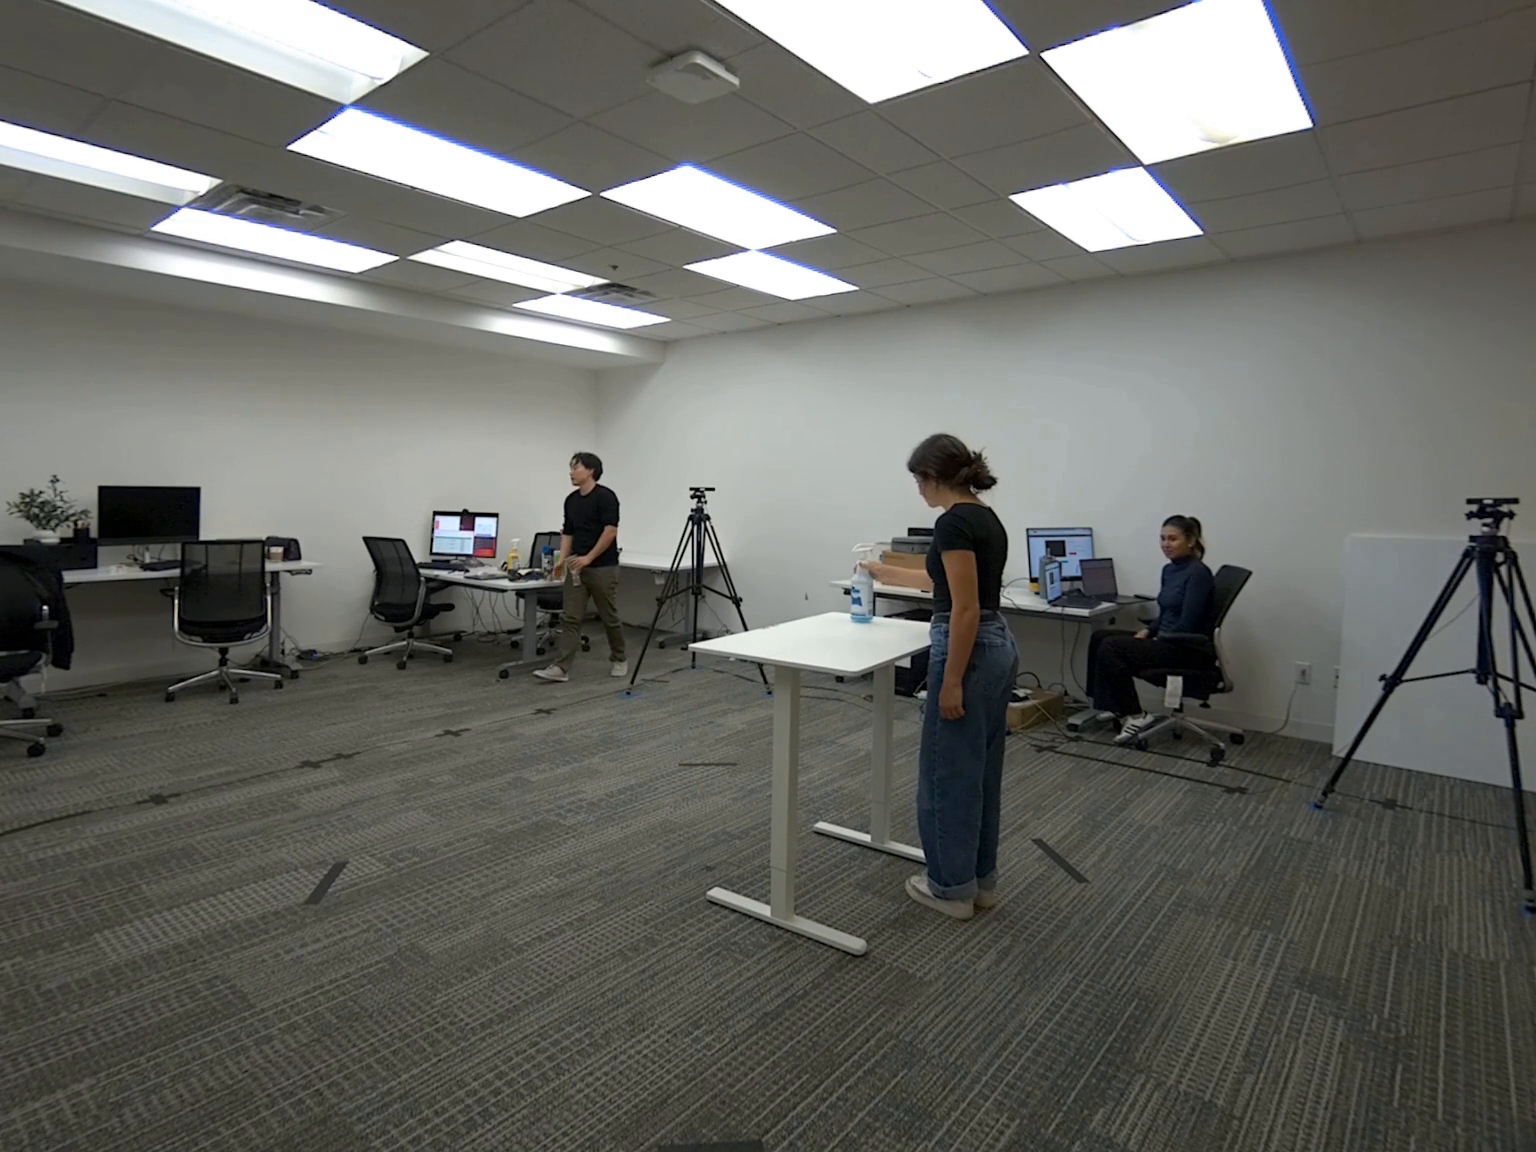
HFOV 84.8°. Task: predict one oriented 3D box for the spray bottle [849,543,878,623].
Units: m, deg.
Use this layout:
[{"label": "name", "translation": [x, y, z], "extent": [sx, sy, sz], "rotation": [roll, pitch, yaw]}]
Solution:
[{"label": "spray bottle", "translation": [0.362, 0.022, 3.305], "extent": [0.092, 0.297, 0.085], "rotation": [4, 3, 18]}]
